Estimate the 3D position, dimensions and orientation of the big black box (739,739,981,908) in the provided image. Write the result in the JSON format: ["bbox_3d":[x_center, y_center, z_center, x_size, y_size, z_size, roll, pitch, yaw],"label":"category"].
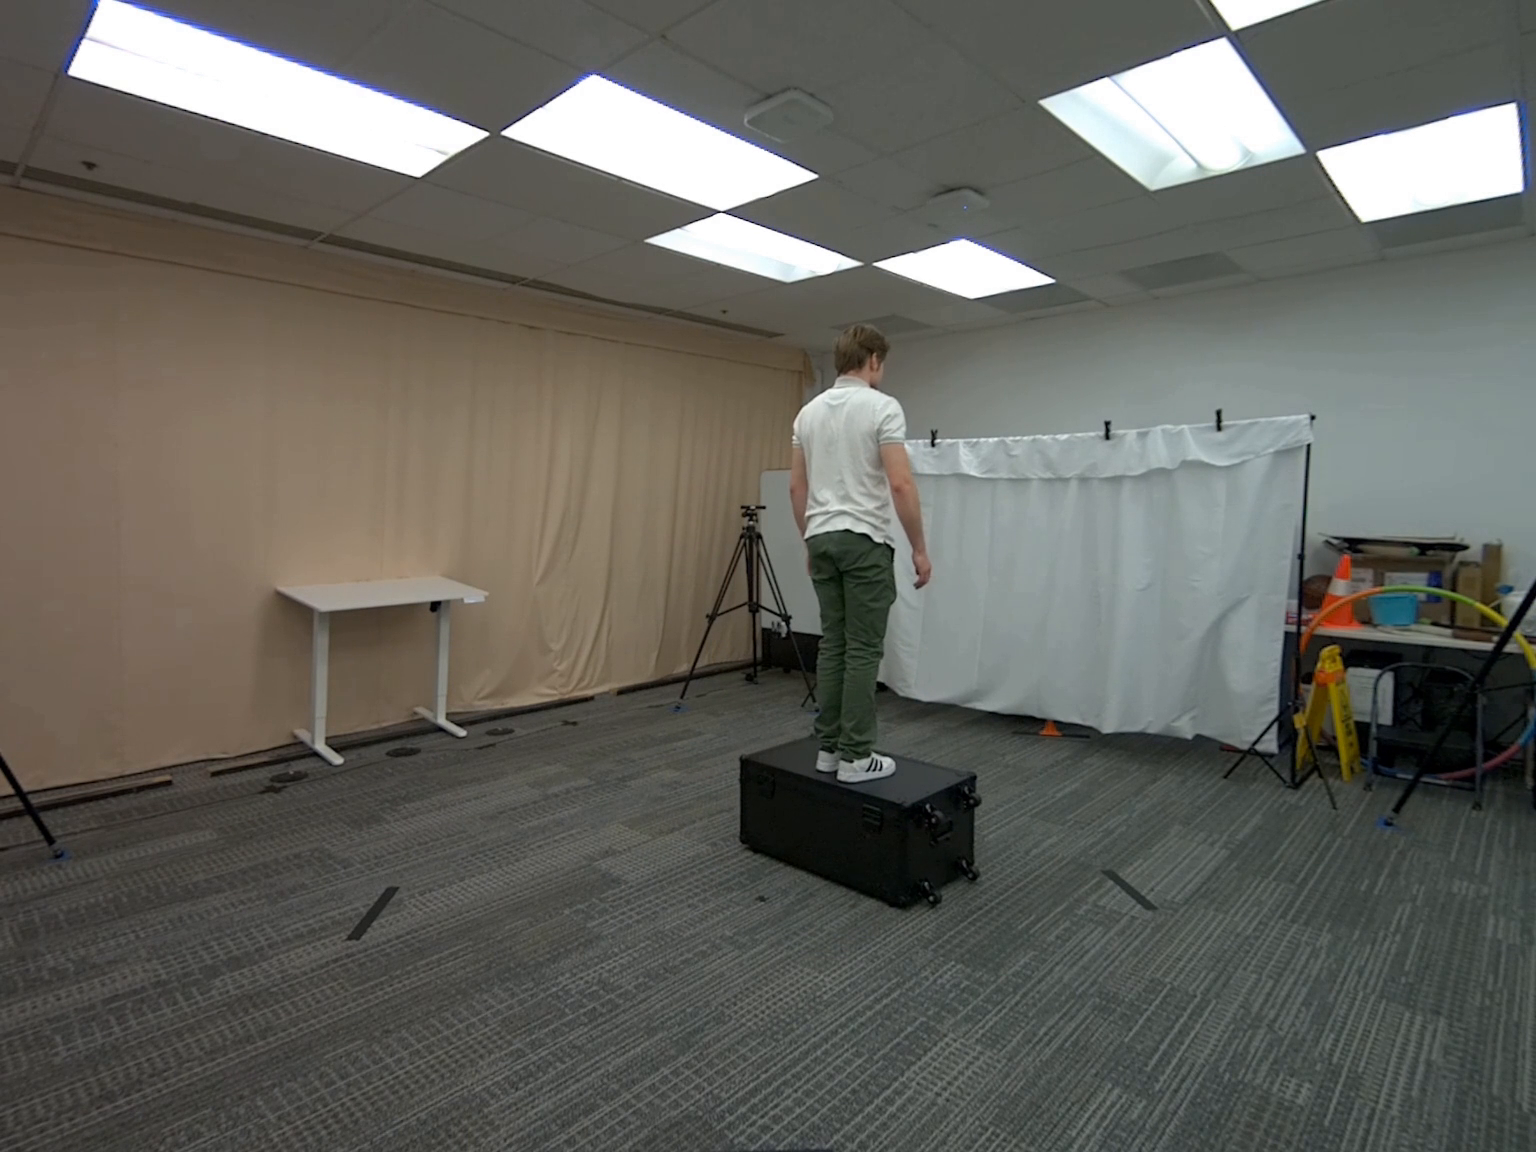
[{"bbox_3d":[0.363,0.927,3.275,0.898,0.384,0.507,5,5,43],"label":"big black box"}]
